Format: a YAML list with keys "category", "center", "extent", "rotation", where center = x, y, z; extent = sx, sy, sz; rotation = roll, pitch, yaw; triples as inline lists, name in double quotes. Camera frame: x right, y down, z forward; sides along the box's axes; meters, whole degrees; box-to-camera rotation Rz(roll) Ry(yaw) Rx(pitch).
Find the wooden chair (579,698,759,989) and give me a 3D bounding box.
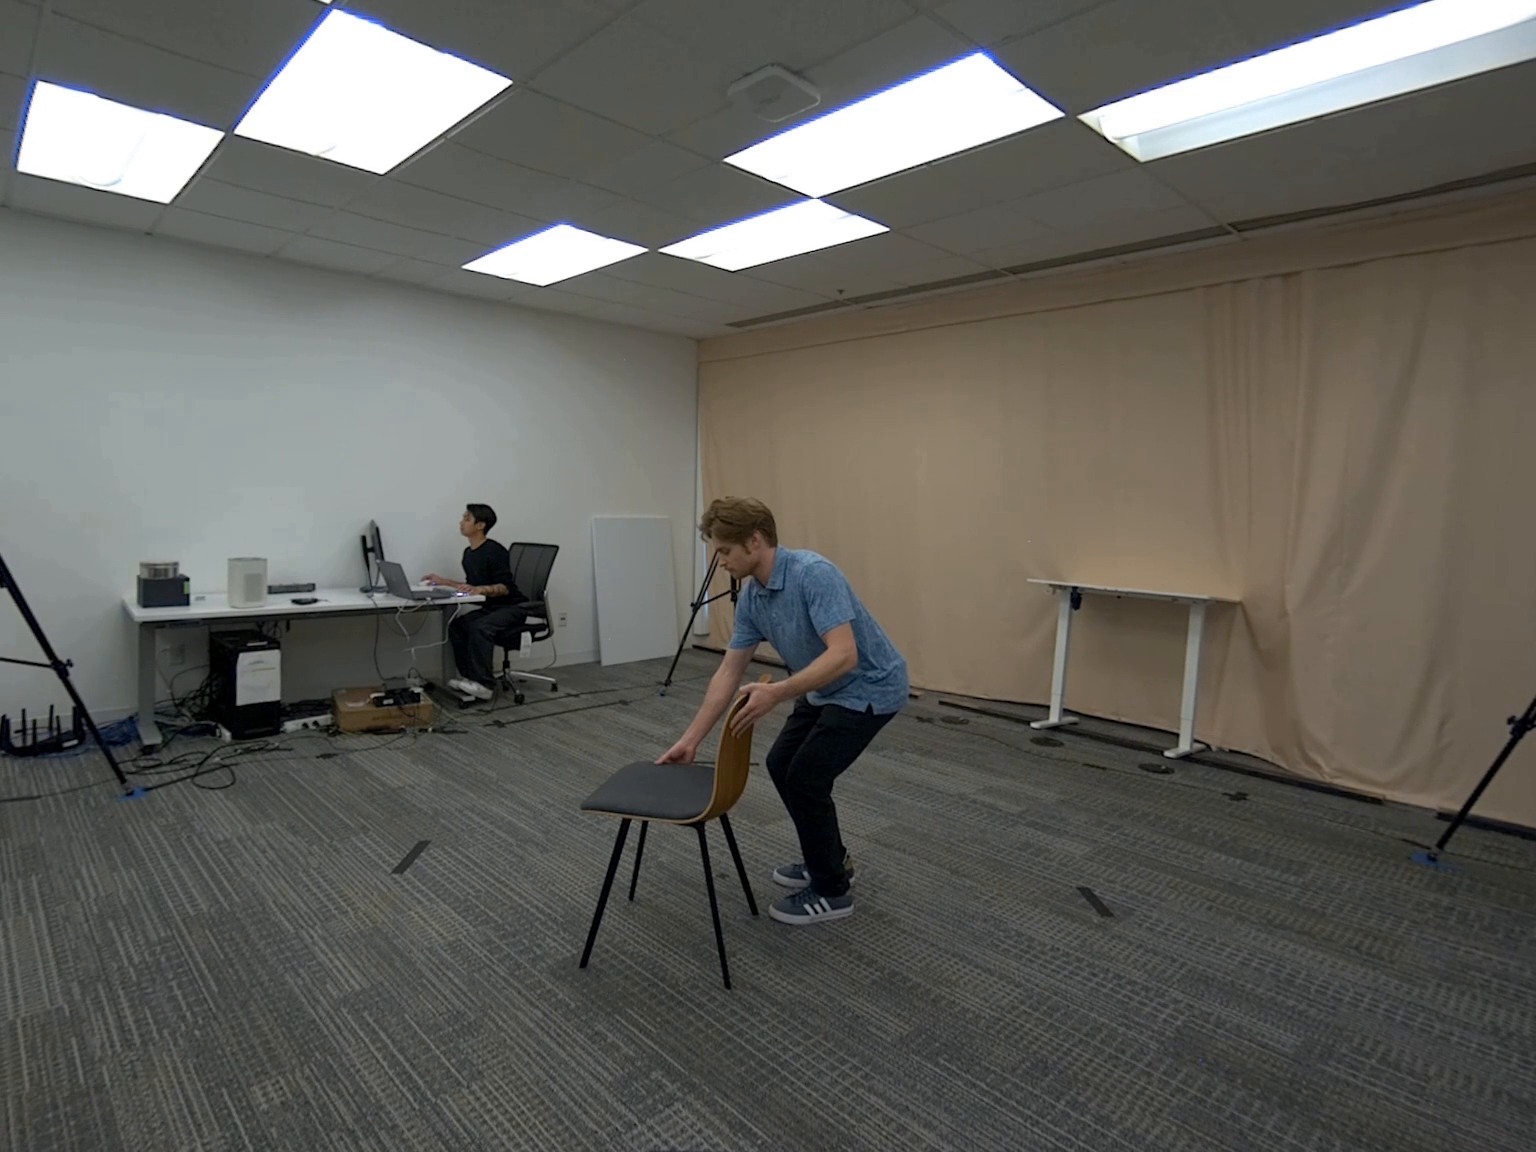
- category: "wooden chair"
  center: [-0.298, 0.721, 2.613]
  extent: [0.529, 0.874, 0.475]
  rotation: [6, 5, 11]
